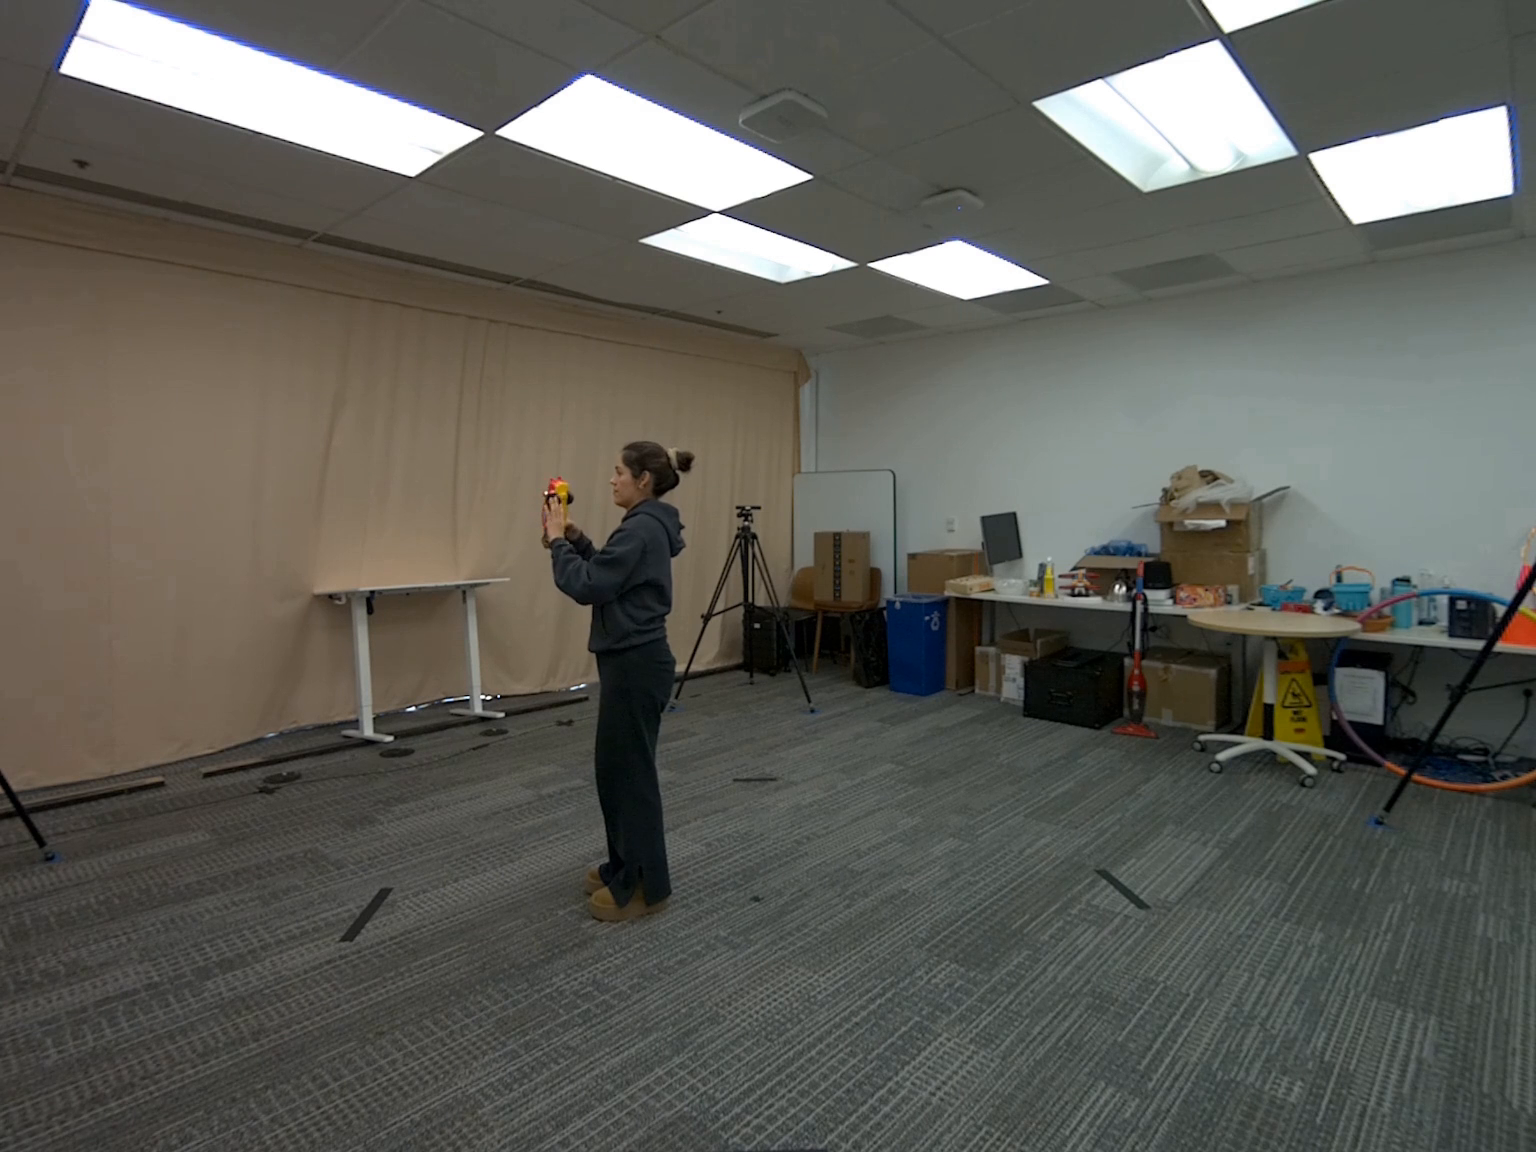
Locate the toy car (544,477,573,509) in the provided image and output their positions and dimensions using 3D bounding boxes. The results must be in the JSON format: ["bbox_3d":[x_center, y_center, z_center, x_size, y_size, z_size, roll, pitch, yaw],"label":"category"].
[{"bbox_3d":[-0.745,-0.217,2.992,0.085,0.253,0.128,0,8,16],"label":"toy car"}]
